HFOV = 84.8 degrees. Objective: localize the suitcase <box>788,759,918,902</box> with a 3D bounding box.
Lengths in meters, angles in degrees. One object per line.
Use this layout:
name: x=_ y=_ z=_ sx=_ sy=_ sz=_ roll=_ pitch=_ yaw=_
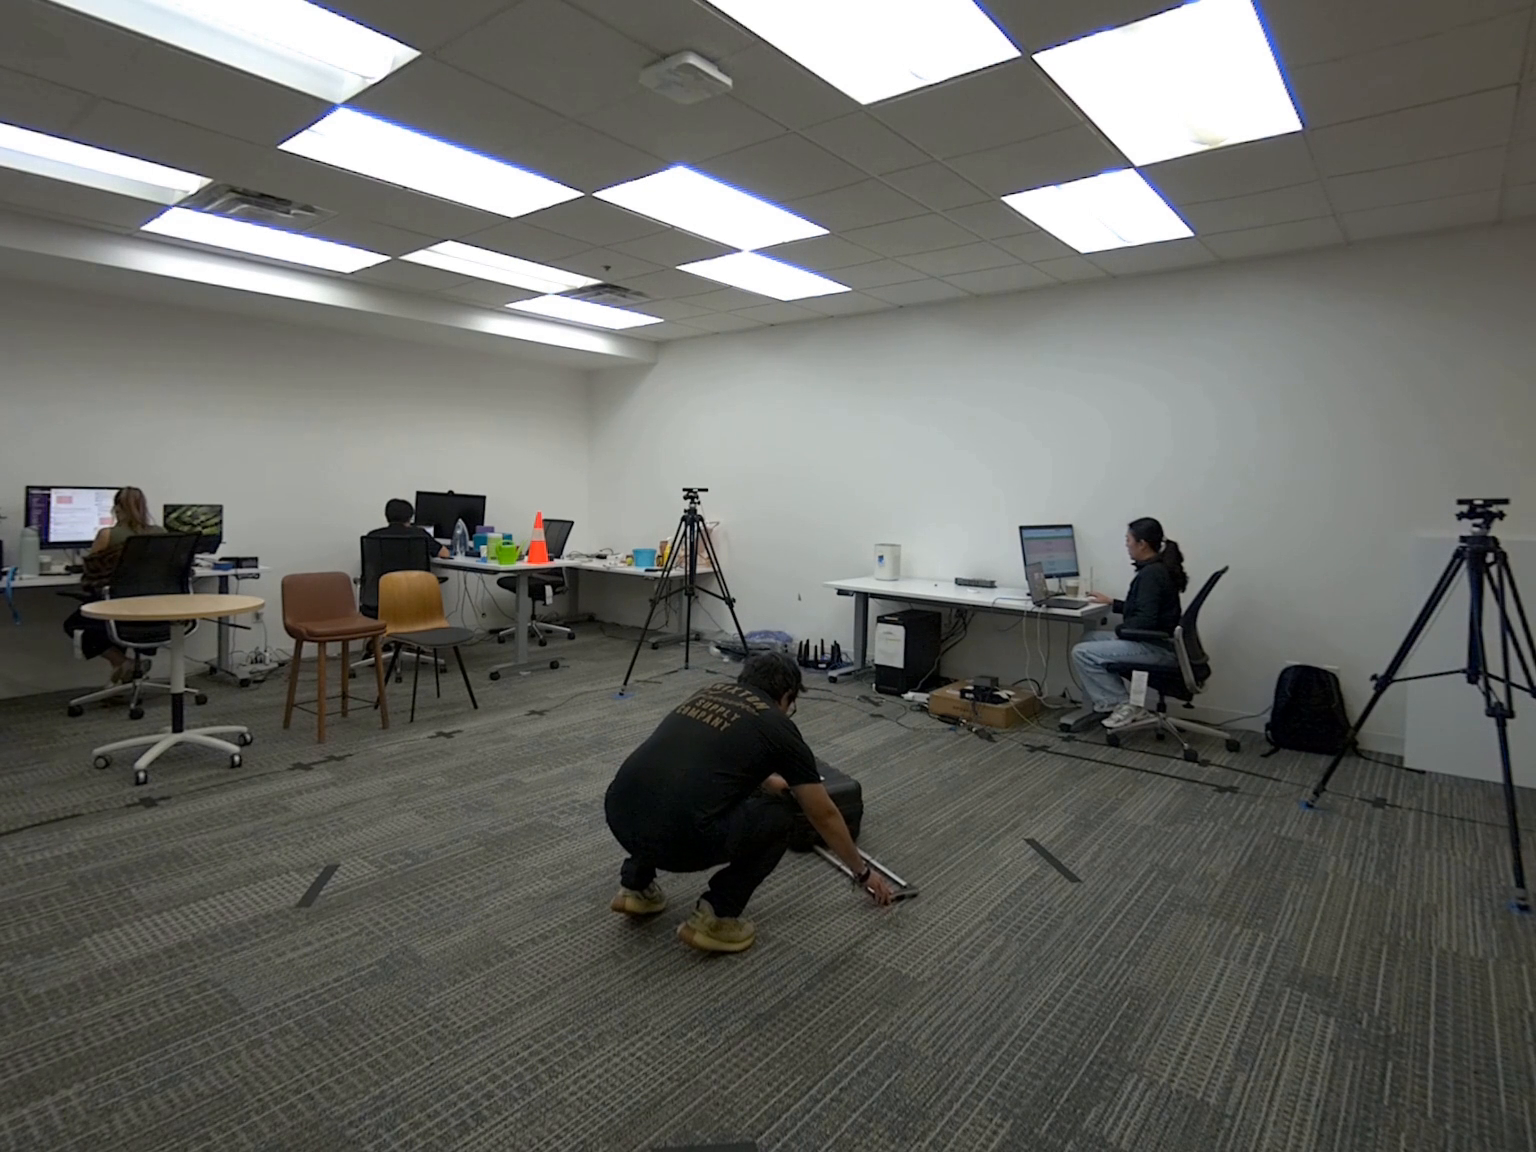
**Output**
suitcase: x=0.211 y=0.926 z=3.350 sx=0.374 sy=0.256 sz=1.006 roll=-1 pitch=4 yaw=-28
